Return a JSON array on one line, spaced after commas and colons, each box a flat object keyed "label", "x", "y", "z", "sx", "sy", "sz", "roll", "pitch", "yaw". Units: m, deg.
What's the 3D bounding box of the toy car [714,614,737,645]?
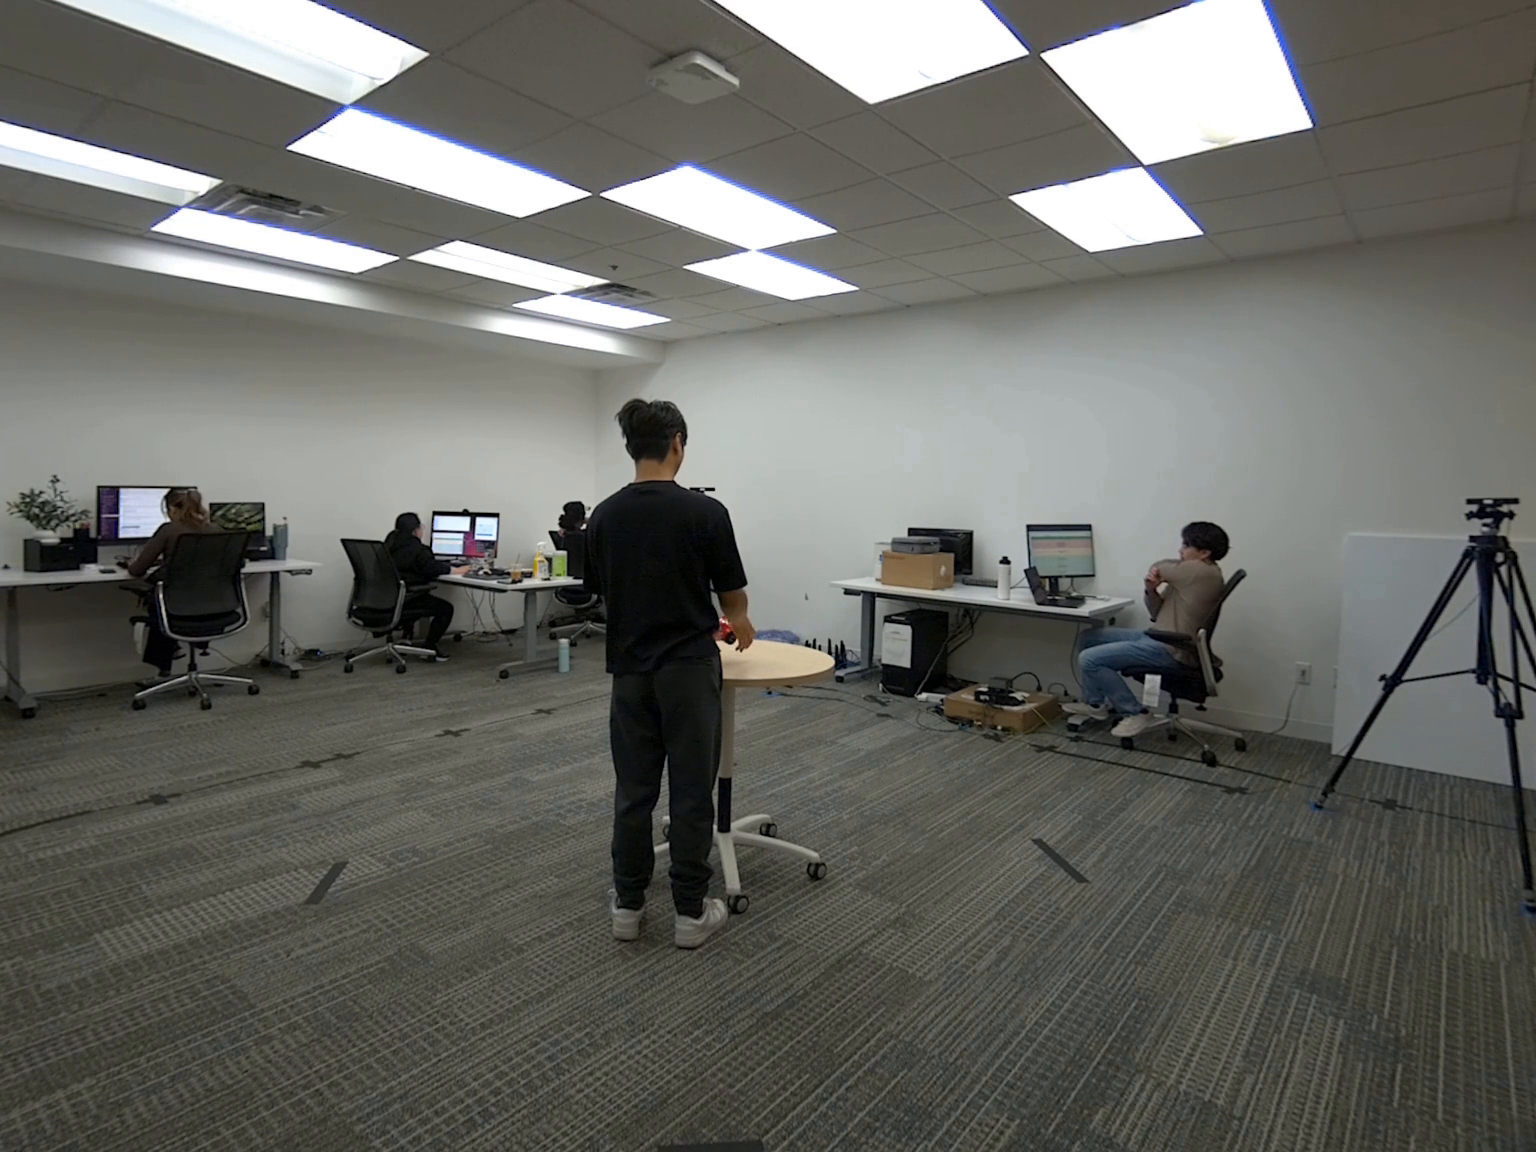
[{"label": "toy car", "x": -0.207, "y": 0.194, "z": 2.965, "sx": 0.248, "sy": 0.082, "sz": 0.135, "roll": -12, "pitch": 22, "yaw": -35}]
